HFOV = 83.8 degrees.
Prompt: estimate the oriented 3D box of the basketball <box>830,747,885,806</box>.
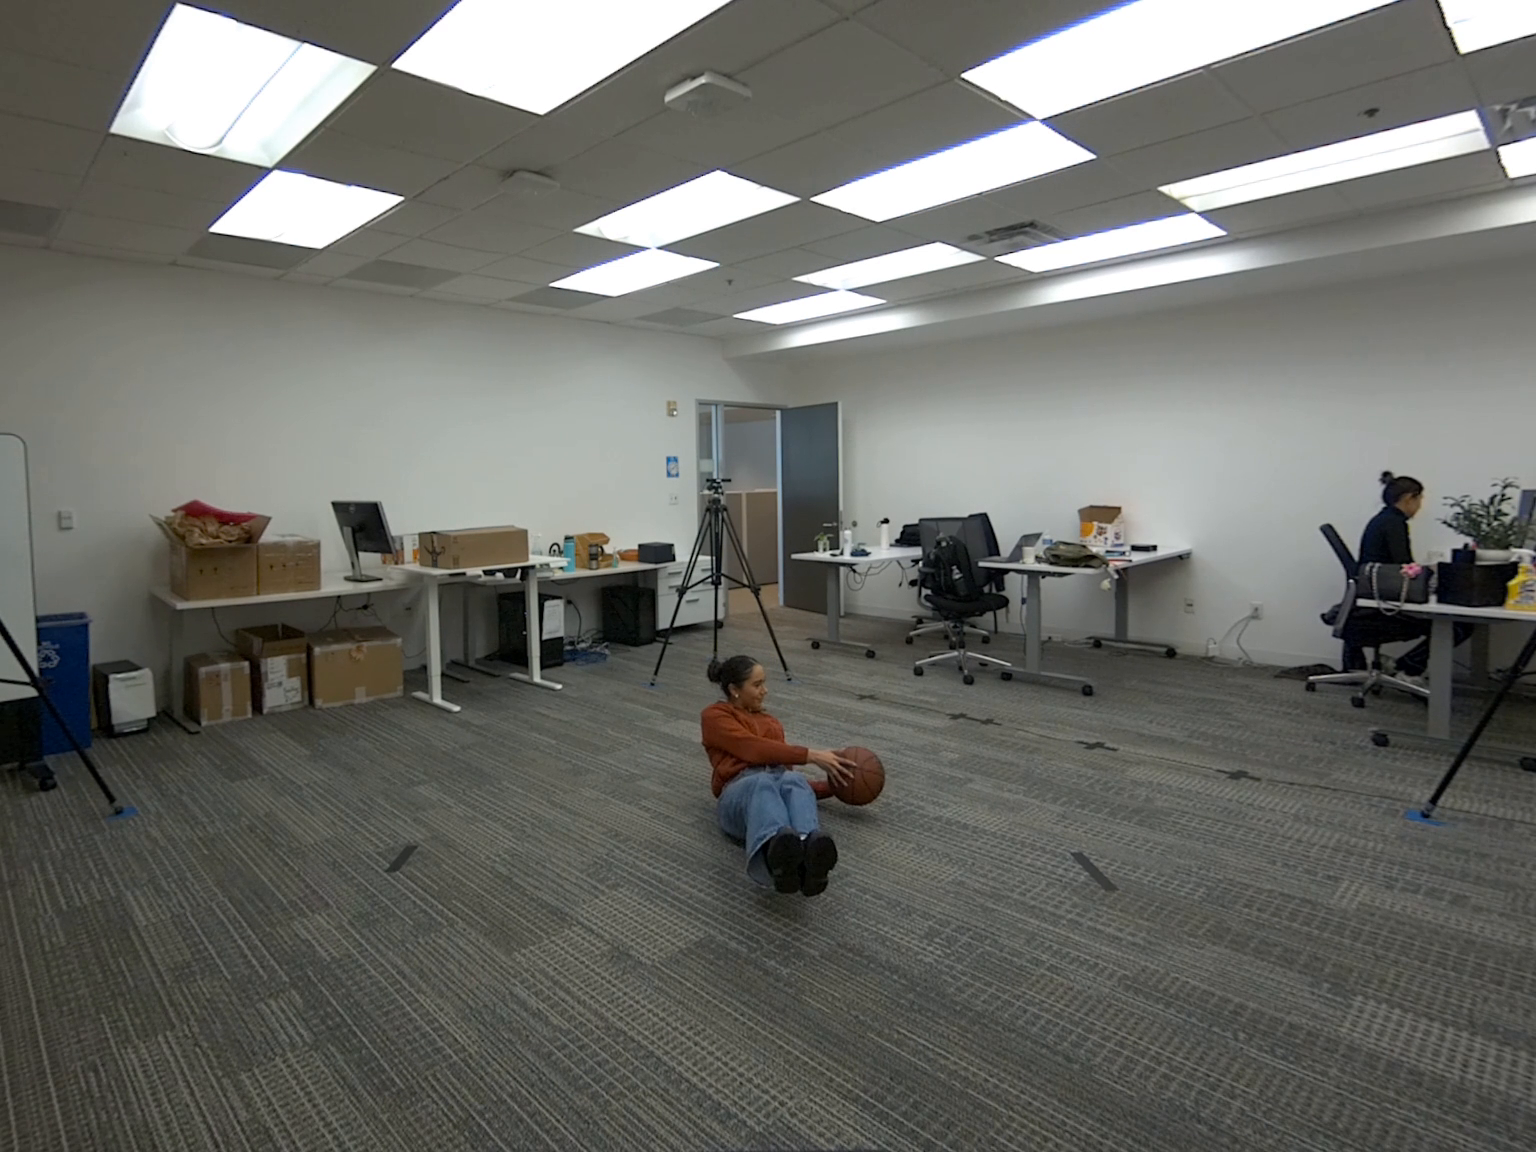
[{"bbox_3d":[0.360,0.802,3.503,0.236,0.235,0.237,-1,5,-2],"label":"basketball"}]
